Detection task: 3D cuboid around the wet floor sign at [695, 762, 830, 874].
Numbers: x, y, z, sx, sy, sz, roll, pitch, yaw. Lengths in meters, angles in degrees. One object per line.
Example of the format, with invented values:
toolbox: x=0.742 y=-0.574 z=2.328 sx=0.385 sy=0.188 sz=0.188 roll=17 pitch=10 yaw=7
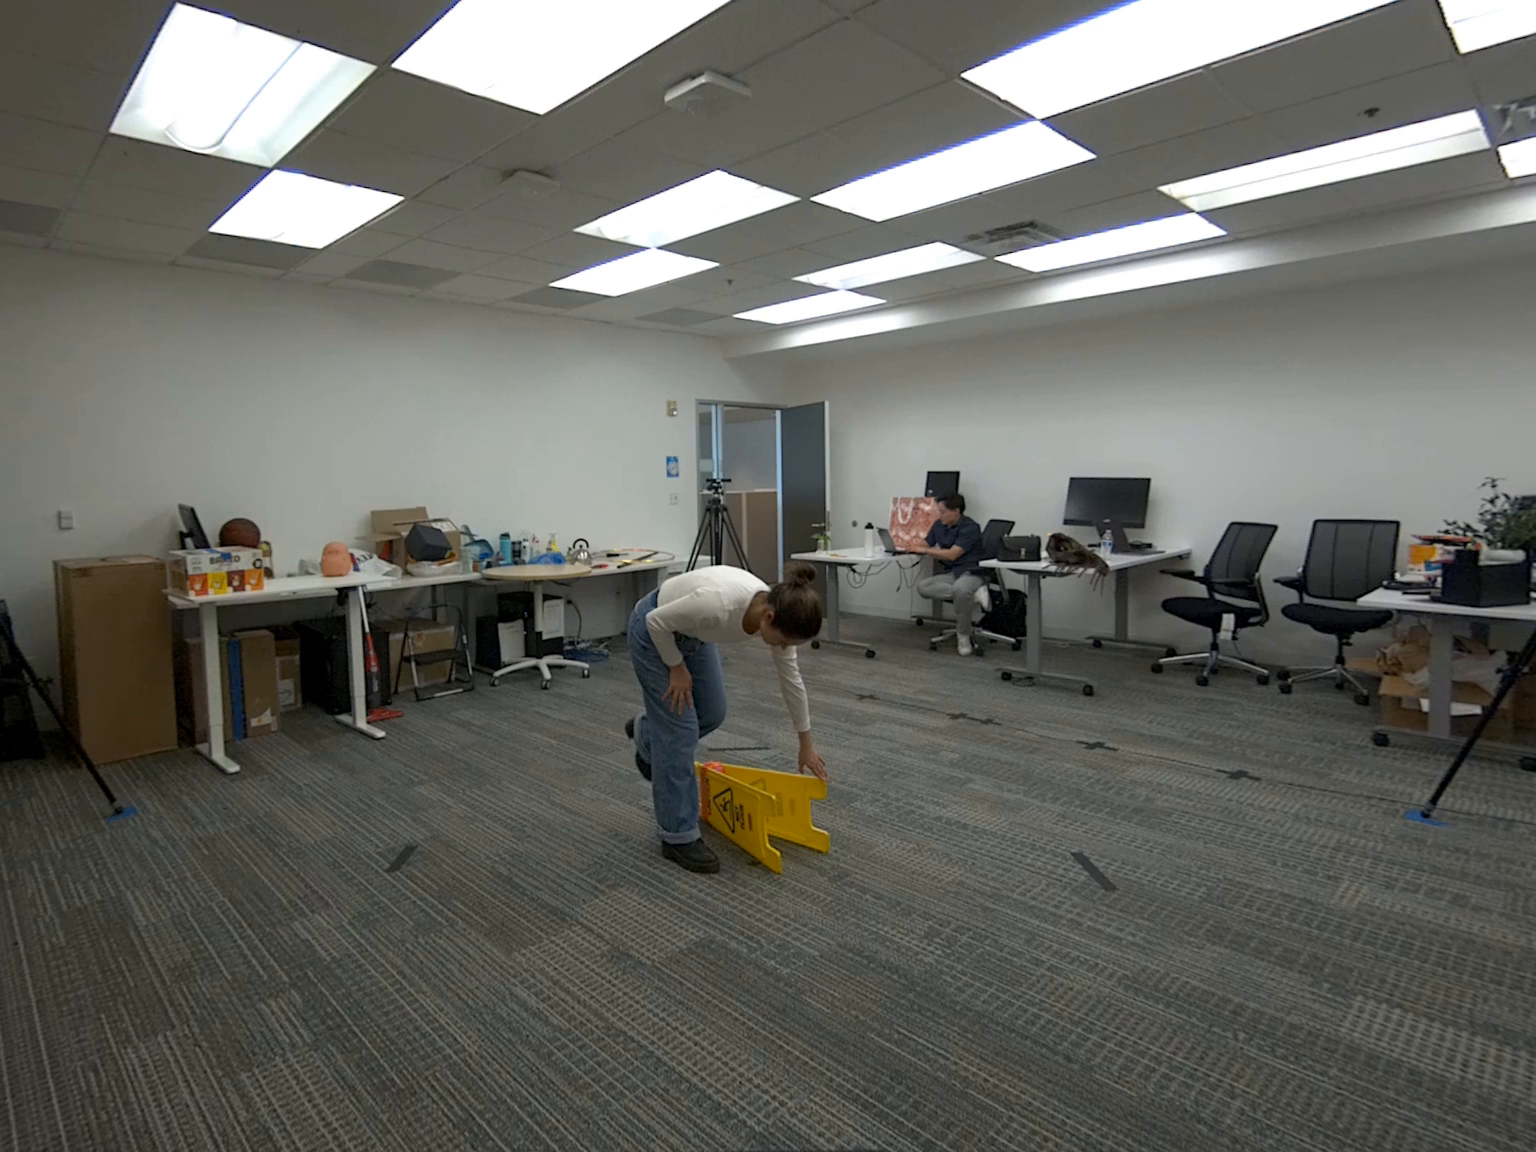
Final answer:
wet floor sign: x=-0.099 y=0.890 z=3.332 sx=0.282 sy=0.281 sz=0.665 roll=-6 pitch=6 yaw=-42
